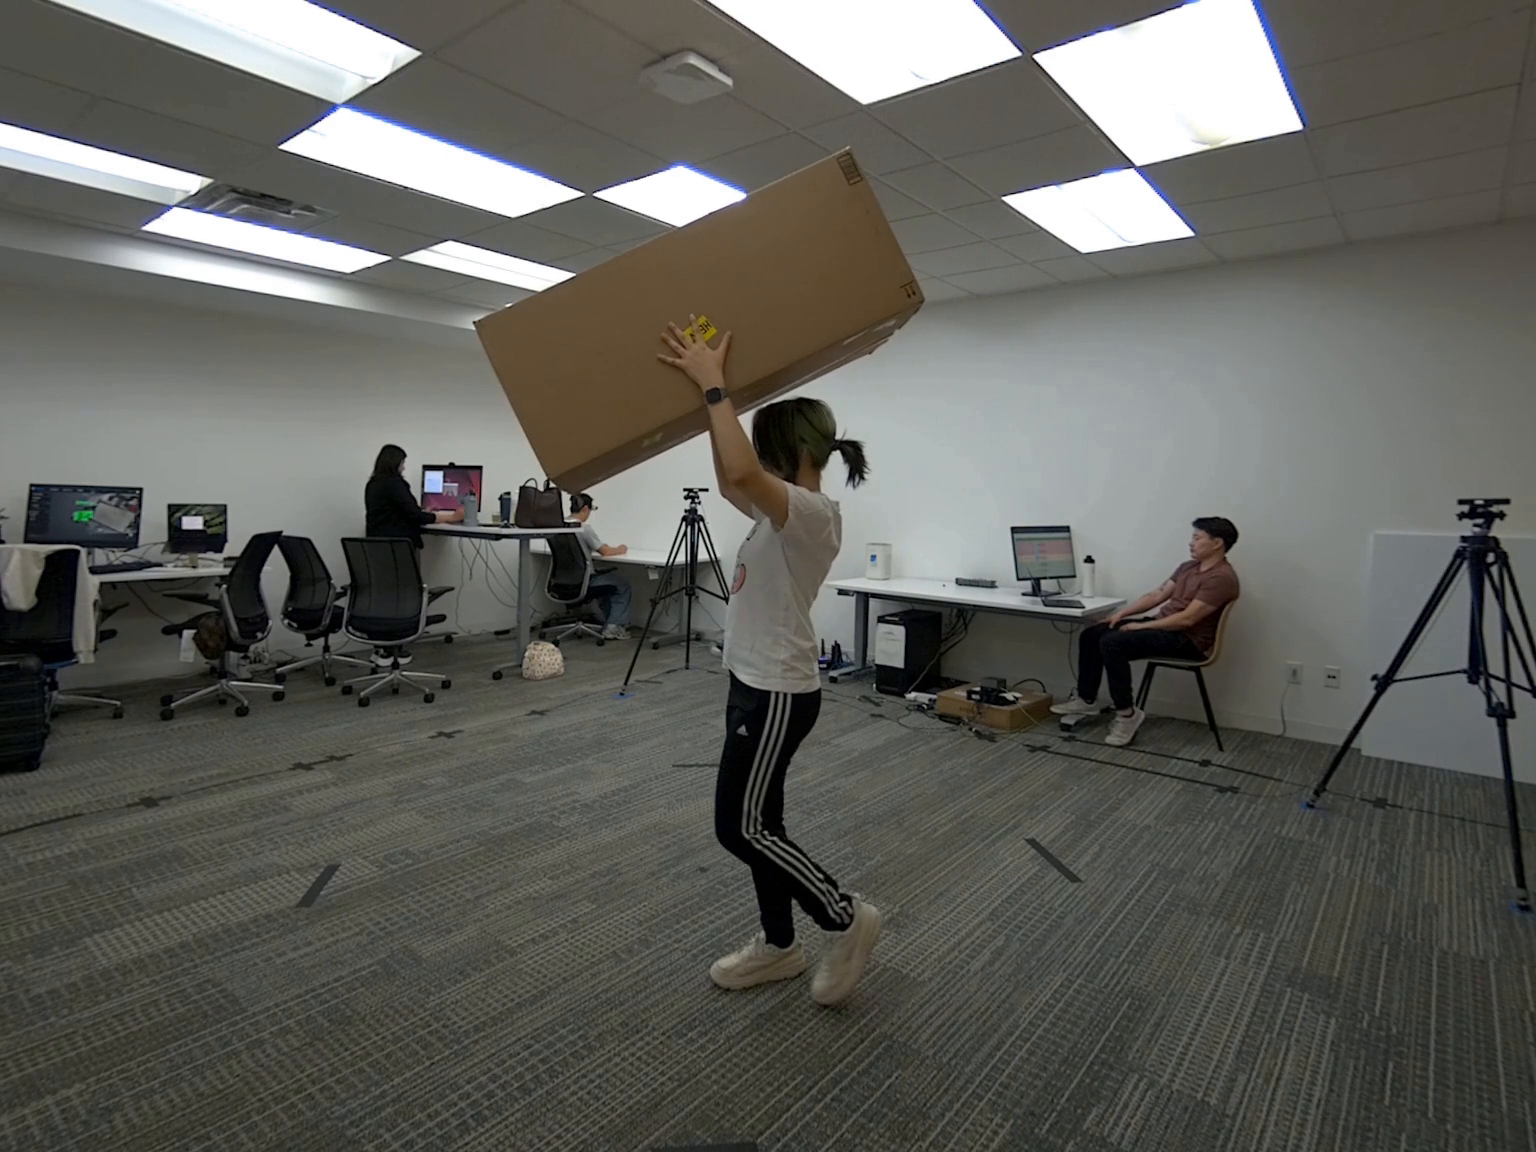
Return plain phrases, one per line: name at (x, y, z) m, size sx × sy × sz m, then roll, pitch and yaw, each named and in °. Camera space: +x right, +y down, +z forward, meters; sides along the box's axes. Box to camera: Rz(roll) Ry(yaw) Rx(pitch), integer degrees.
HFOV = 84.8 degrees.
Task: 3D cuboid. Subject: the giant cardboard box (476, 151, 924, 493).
giant cardboard box at (-0.201, -0.646, 2.333) m, size 1.025 × 0.445 × 0.587 m, roll -27°, pitch 4°, yaw -4°
